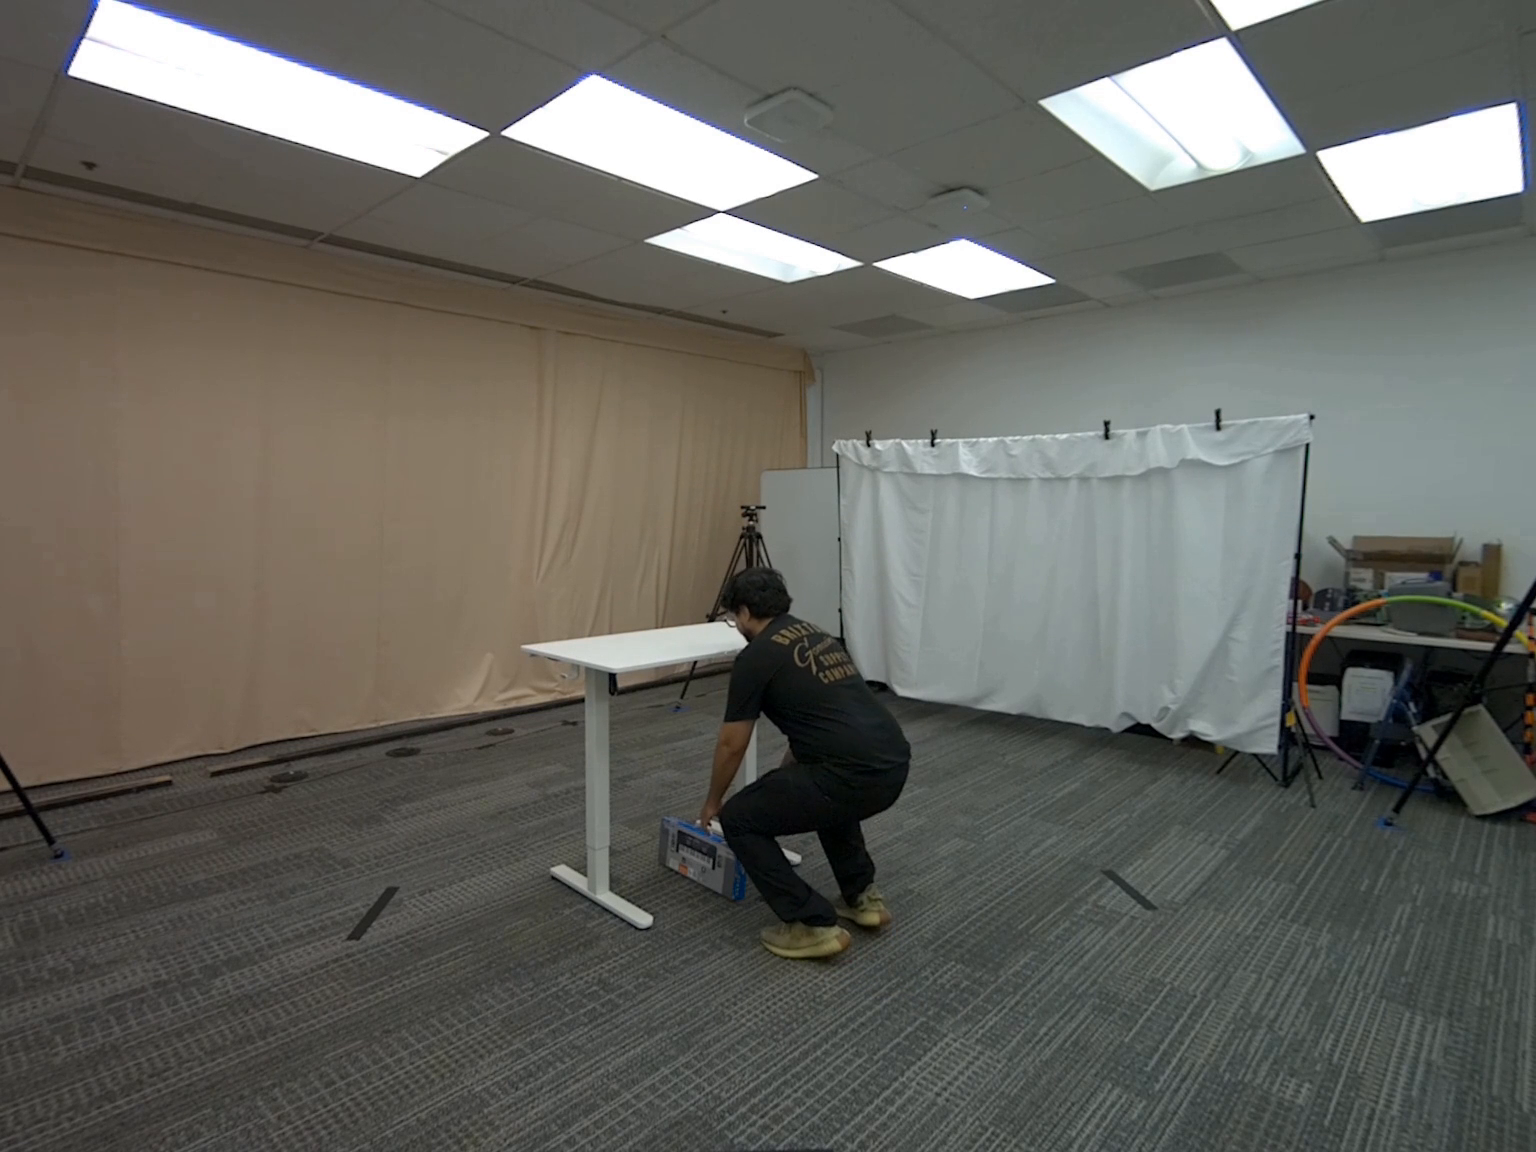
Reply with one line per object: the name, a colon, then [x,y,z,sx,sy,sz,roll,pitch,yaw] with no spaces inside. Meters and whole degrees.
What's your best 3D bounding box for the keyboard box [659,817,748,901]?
keyboard box: [-0.249,1.044,3.139,0.057,0.176,0.451,6,-1,-43]
